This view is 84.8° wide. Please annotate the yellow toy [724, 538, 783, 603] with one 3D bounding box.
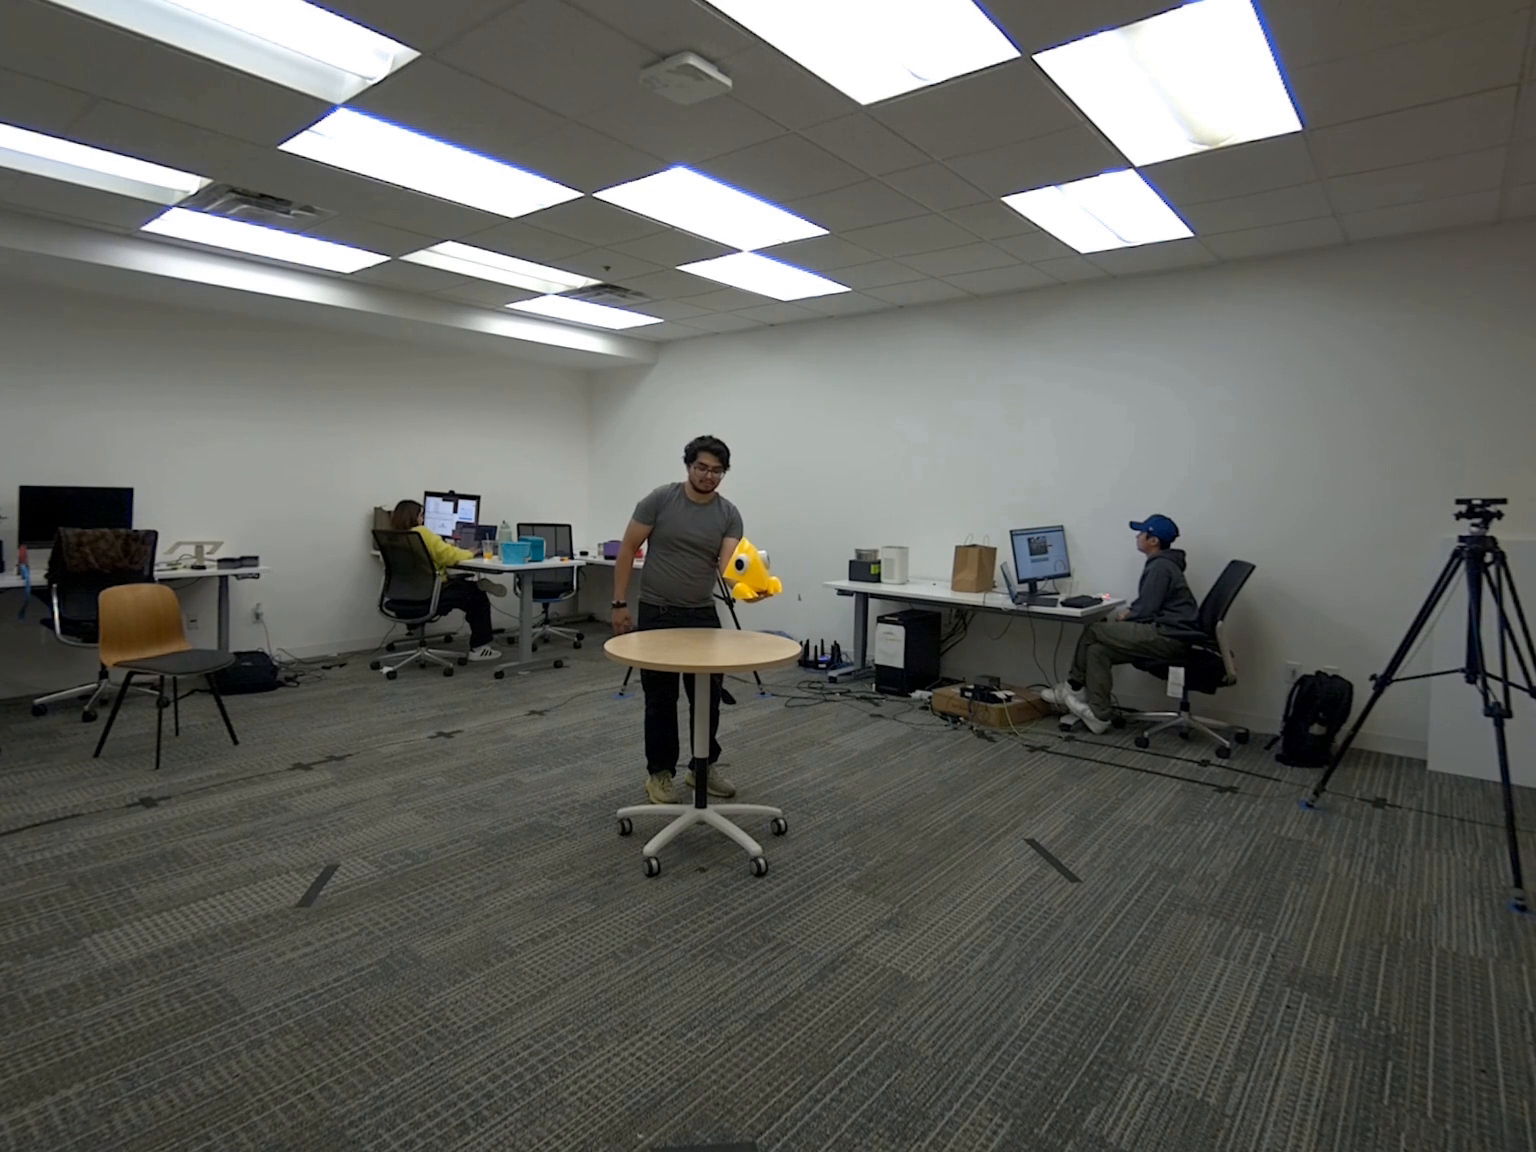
[{"bbox_3d":[-0.067,-0.047,3.432,0.201,0.229,0.198,-9,6,-25],"label":"yellow toy"}]
